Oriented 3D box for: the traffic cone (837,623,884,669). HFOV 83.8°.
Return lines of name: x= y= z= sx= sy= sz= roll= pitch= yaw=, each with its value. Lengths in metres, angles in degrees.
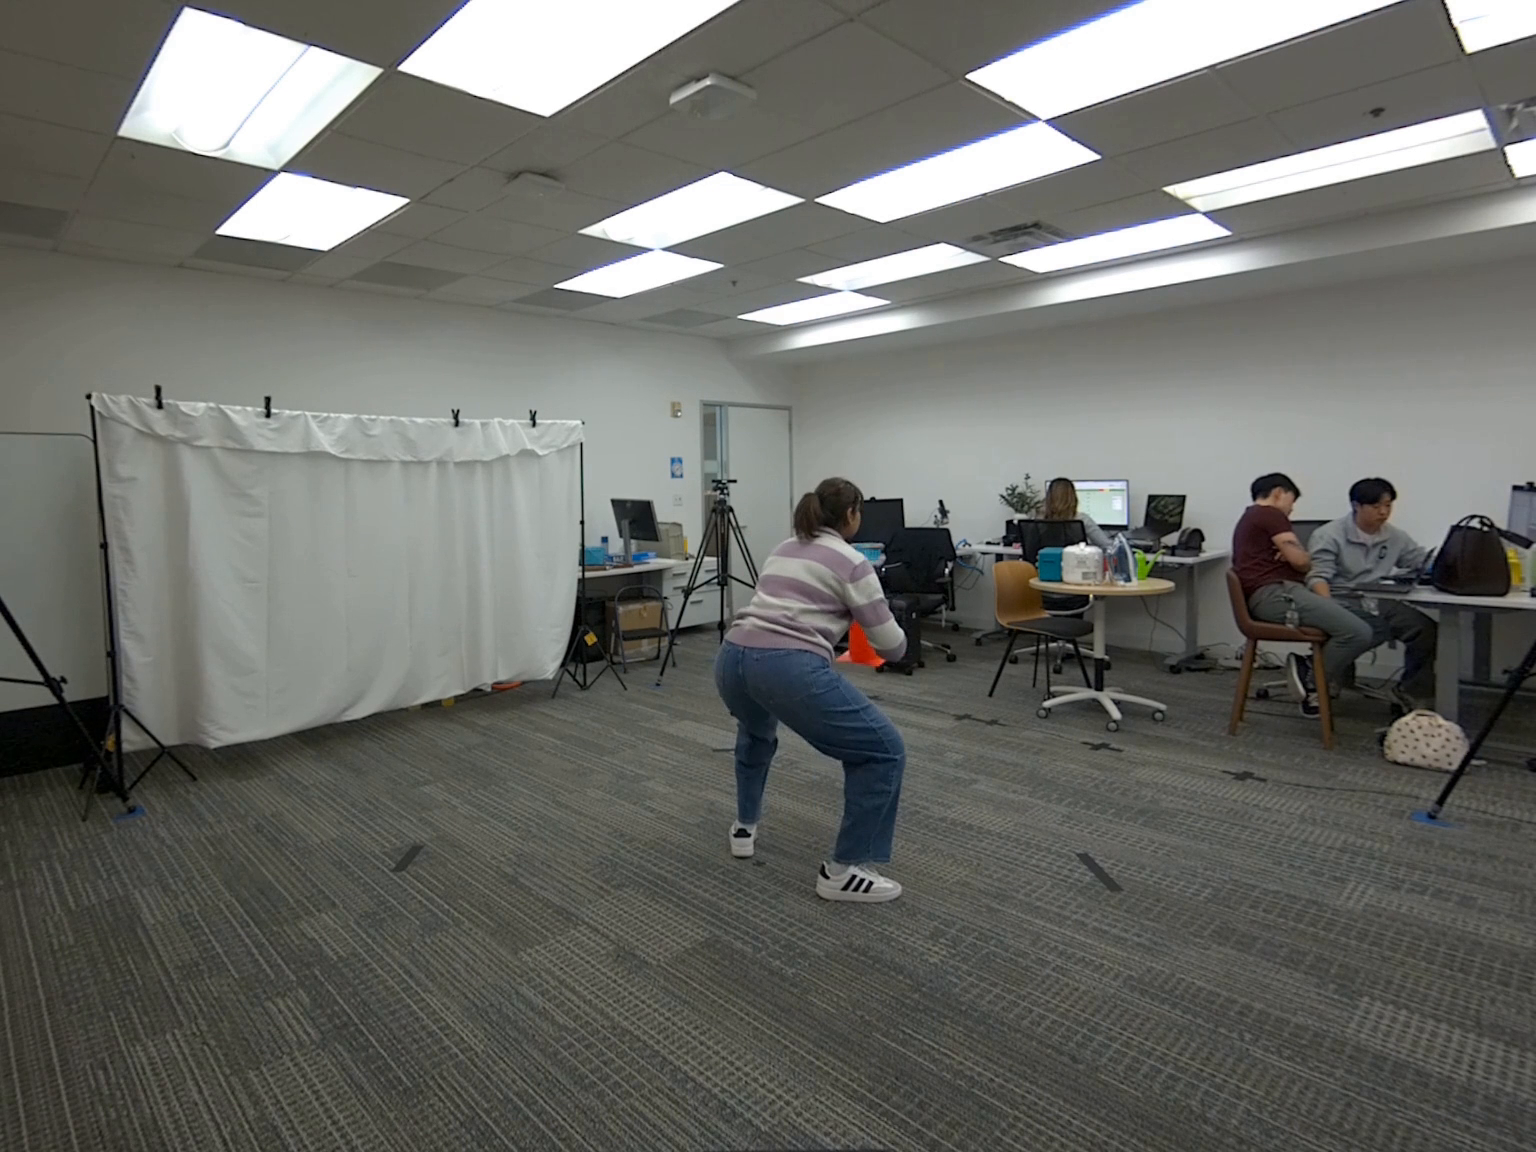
traffic cone: x=0.360 y=0.126 z=3.258 sx=0.200 sy=0.378 sz=0.211 roll=-21 pitch=17 yaw=-40
